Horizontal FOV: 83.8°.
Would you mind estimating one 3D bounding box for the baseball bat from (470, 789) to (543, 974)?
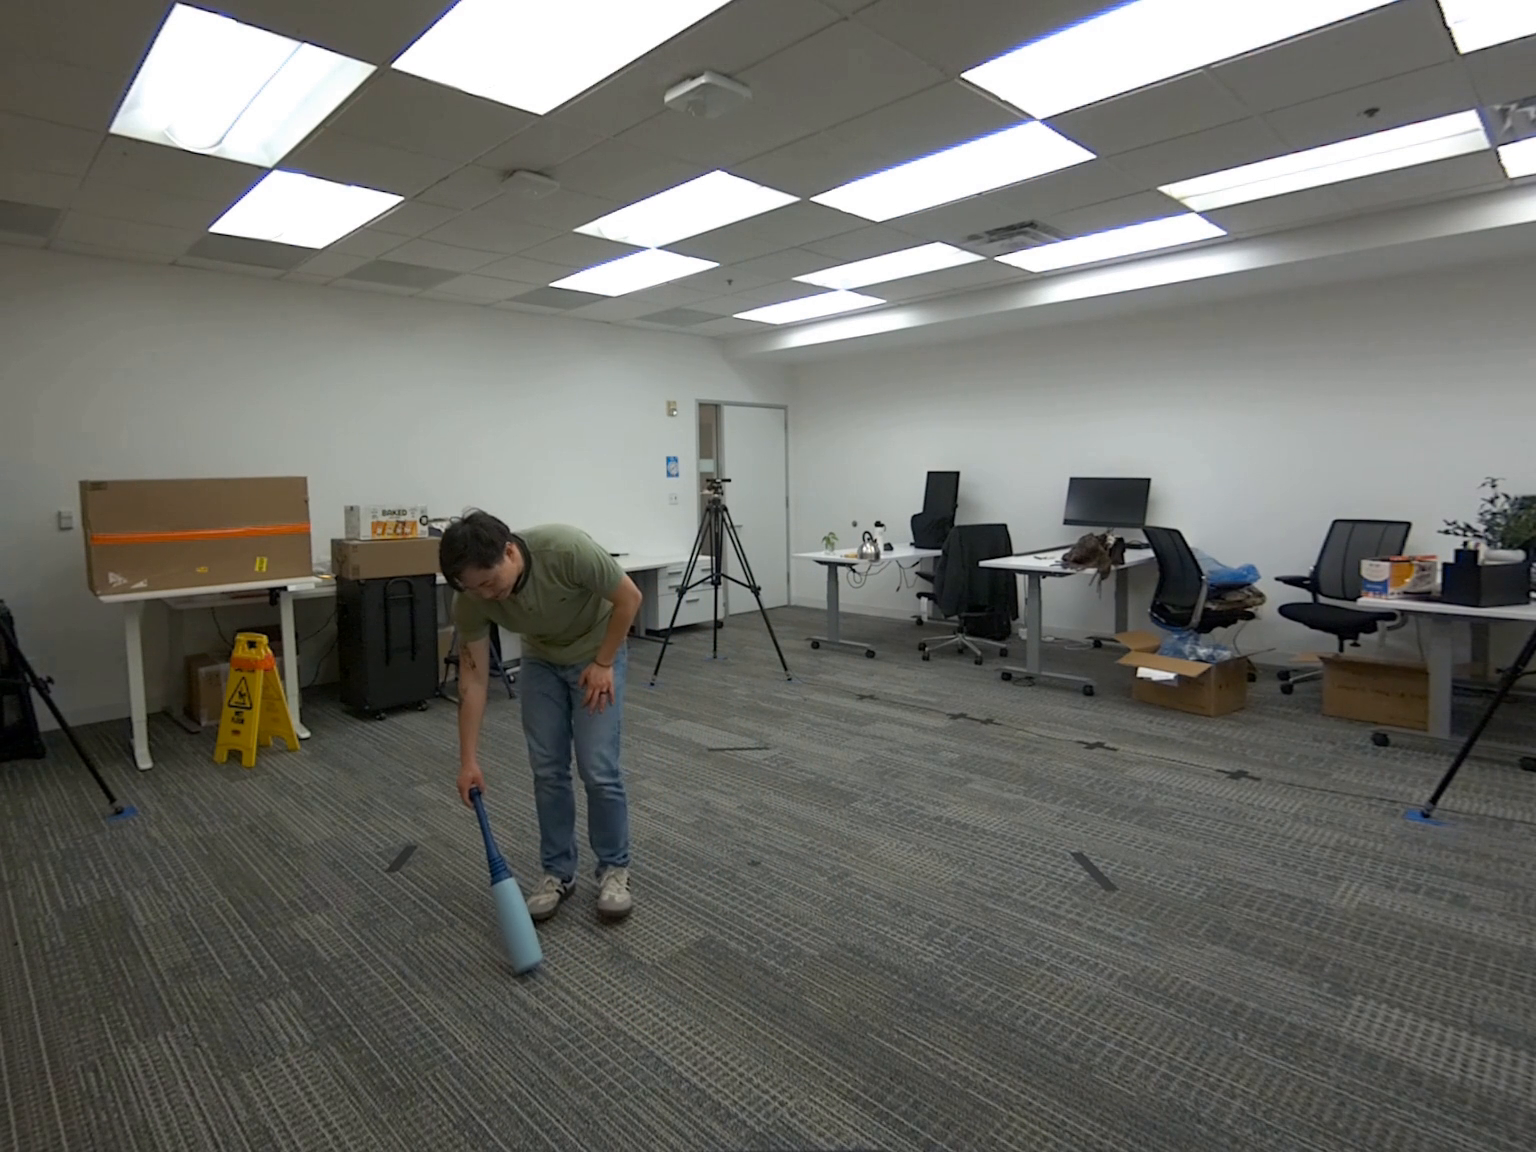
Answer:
[{"bbox_3d":[-0.787,0.894,2.529,0.088,0.557,0.087,-22,-22,-11],"label":"baseball bat"}]
